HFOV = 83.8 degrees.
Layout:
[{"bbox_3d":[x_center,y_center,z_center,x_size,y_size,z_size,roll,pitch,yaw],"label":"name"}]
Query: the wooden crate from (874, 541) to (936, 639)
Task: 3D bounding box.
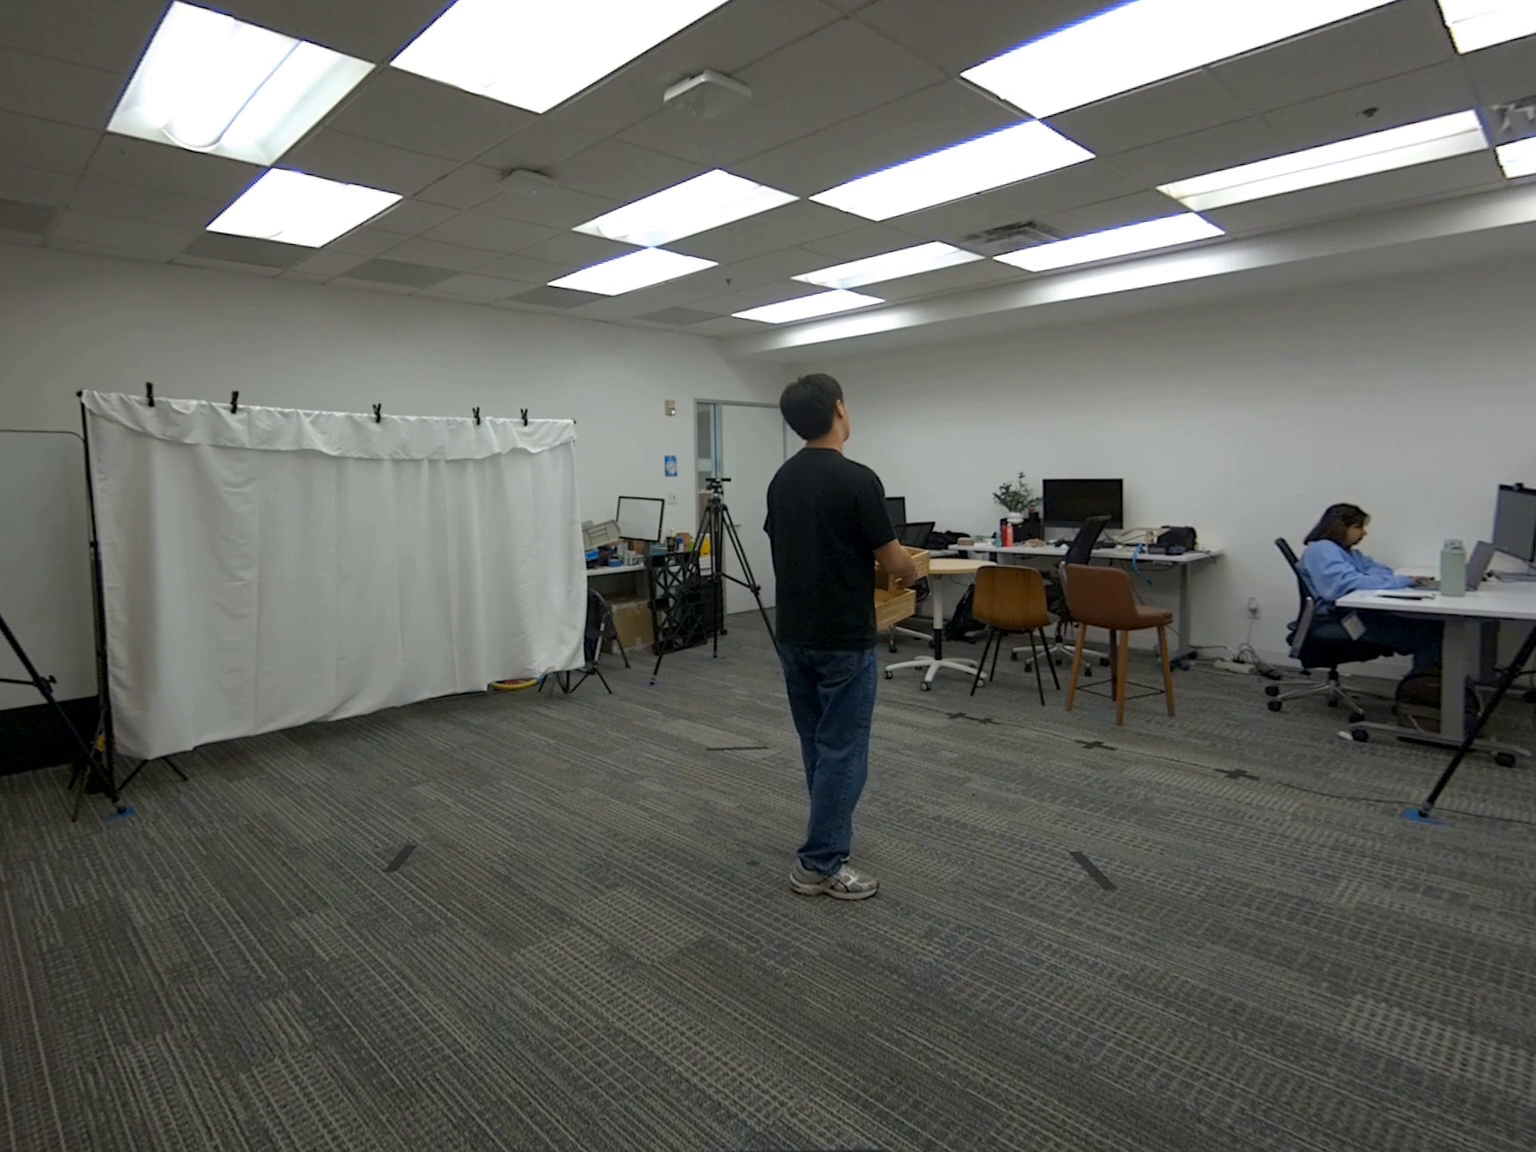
[{"bbox_3d":[0.415,0.029,3.267,0.312,0.270,0.318,12,19,37],"label":"wooden crate"}]
